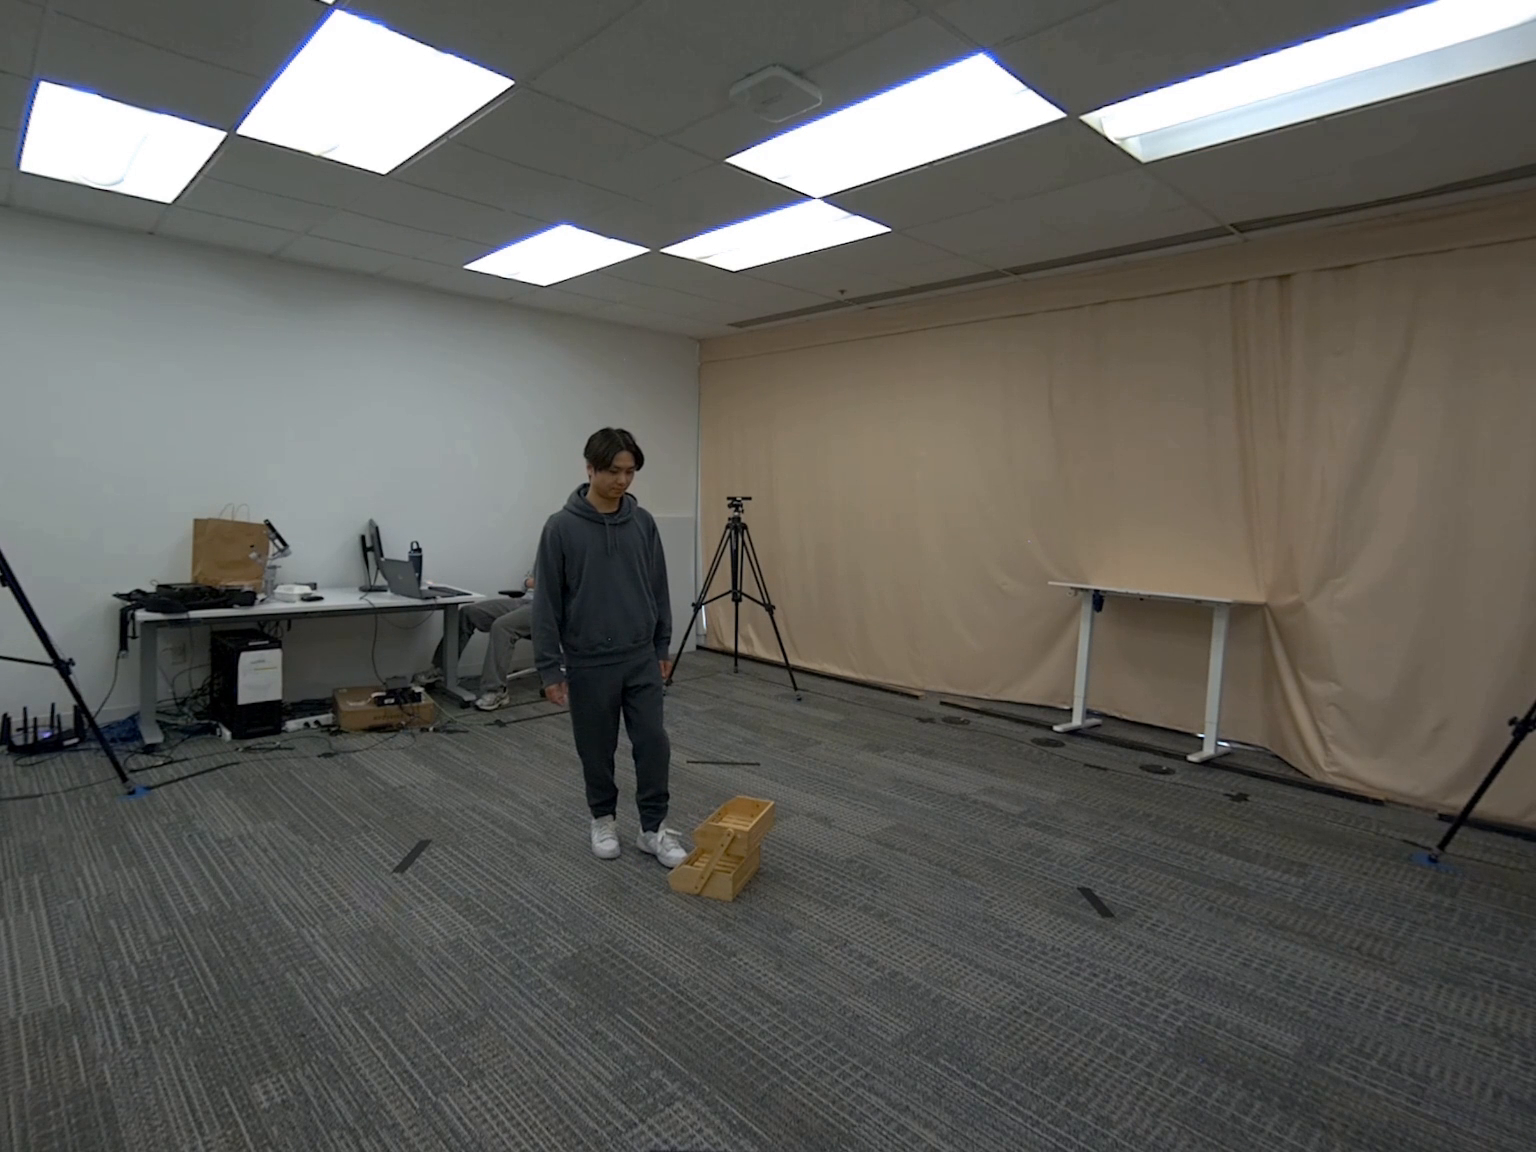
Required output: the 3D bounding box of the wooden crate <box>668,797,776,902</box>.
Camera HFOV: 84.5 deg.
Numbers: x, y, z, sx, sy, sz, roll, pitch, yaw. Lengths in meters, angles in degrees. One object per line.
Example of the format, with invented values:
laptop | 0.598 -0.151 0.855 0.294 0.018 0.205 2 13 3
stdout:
wooden crate | -0.179 0.975 3.067 0.307 0.272 0.320 2 4 19
